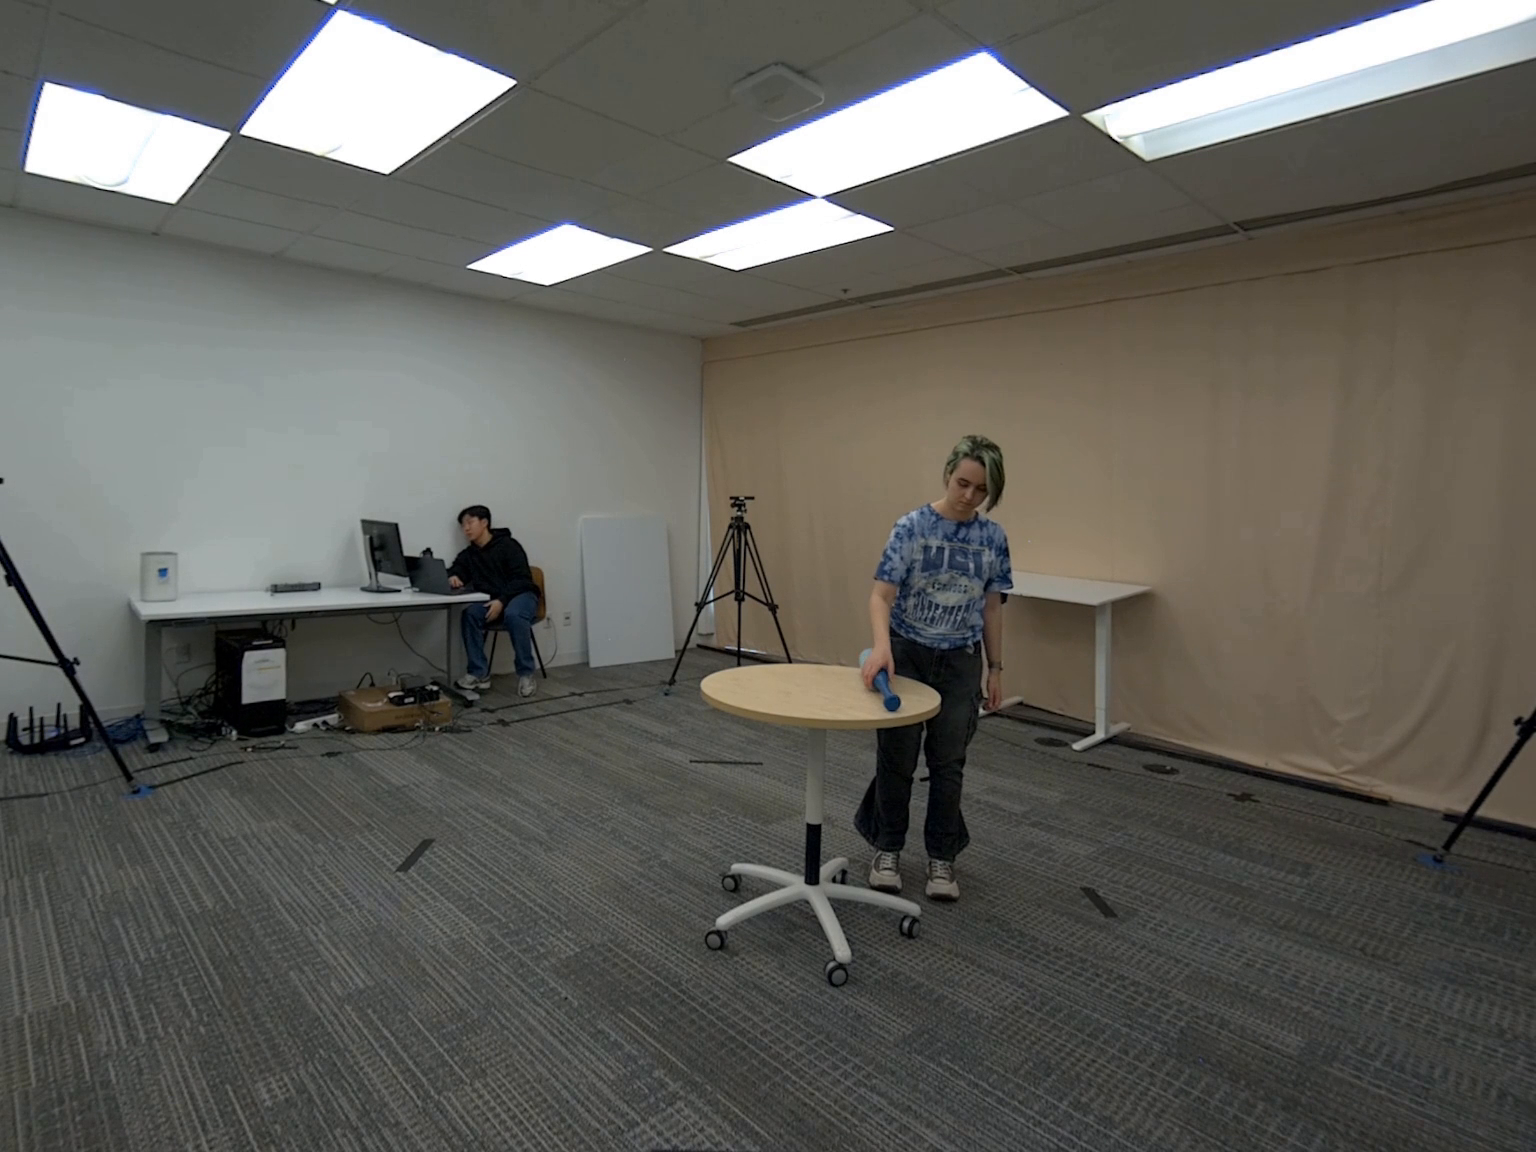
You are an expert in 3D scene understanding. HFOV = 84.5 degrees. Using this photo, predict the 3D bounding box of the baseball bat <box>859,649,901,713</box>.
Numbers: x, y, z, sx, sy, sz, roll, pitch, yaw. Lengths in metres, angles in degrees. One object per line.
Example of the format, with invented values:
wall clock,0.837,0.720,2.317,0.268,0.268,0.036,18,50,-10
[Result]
baseball bat,0.359,0.335,2.691,0.089,0.088,0.546,1,7,-2
